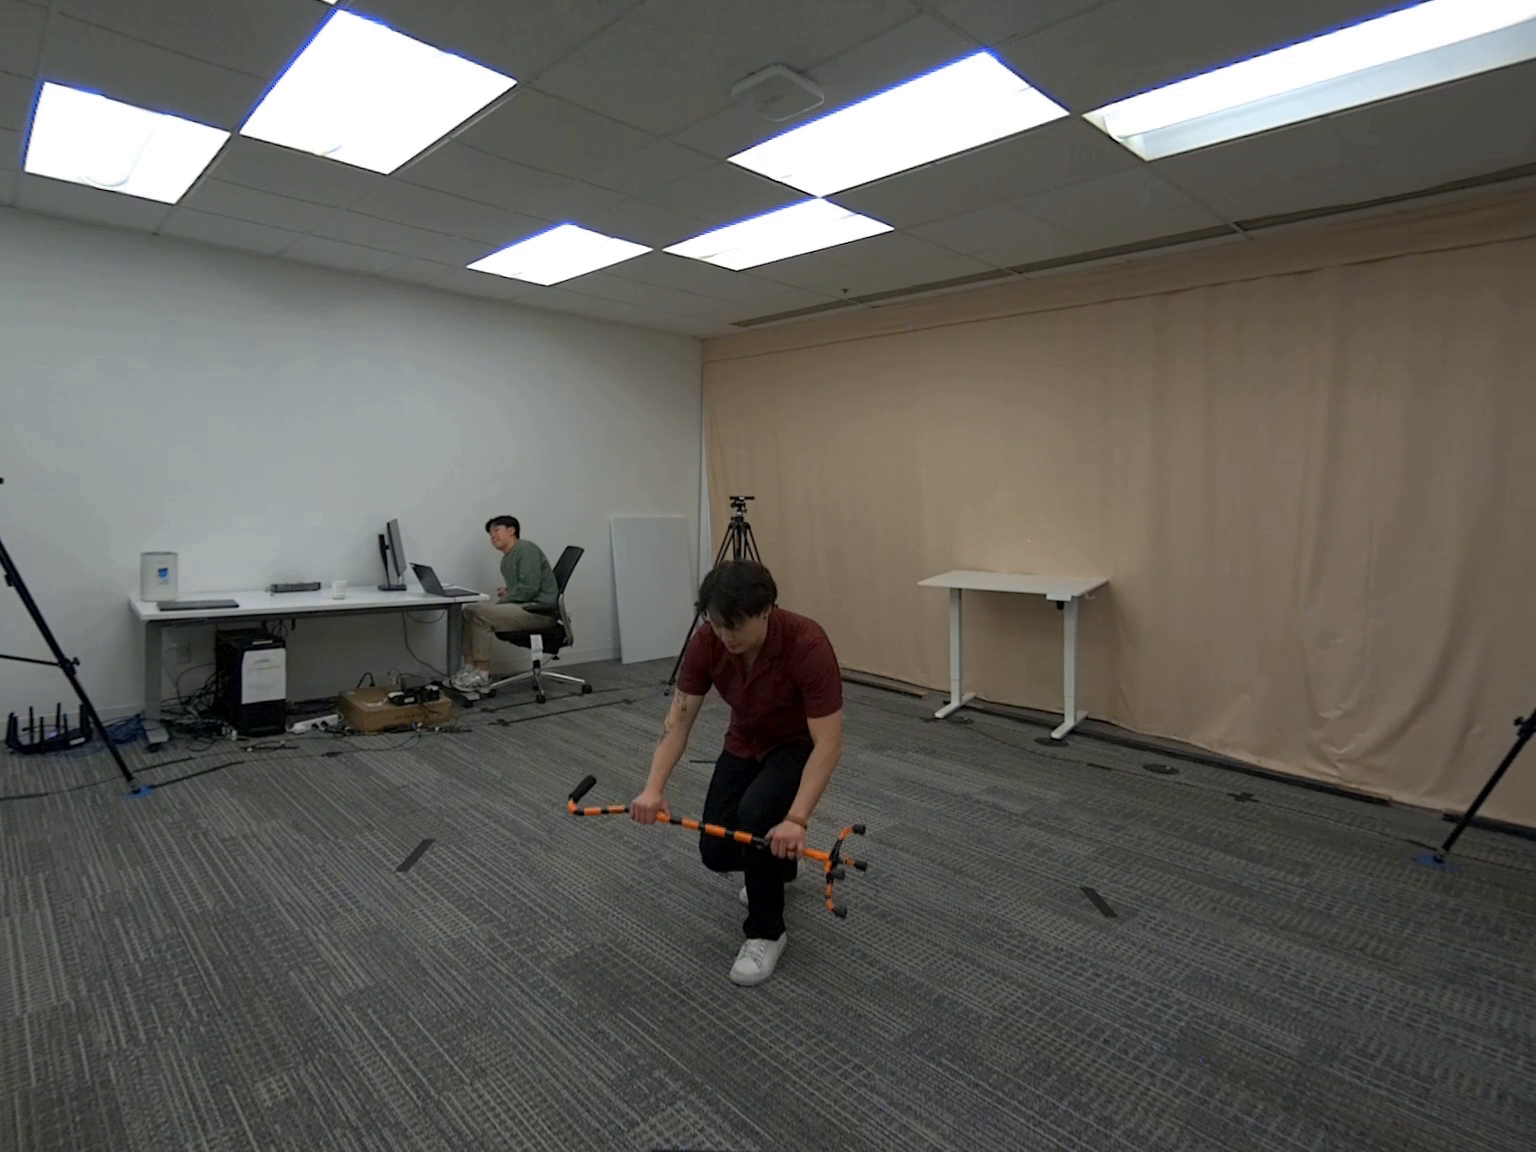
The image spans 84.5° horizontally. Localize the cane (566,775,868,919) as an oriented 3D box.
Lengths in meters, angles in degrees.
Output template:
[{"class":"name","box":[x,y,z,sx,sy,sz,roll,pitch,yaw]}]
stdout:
[{"class":"cane","box":[-0.206,0.732,2.385,0.925,0.149,0.206,5,23,24]}]
